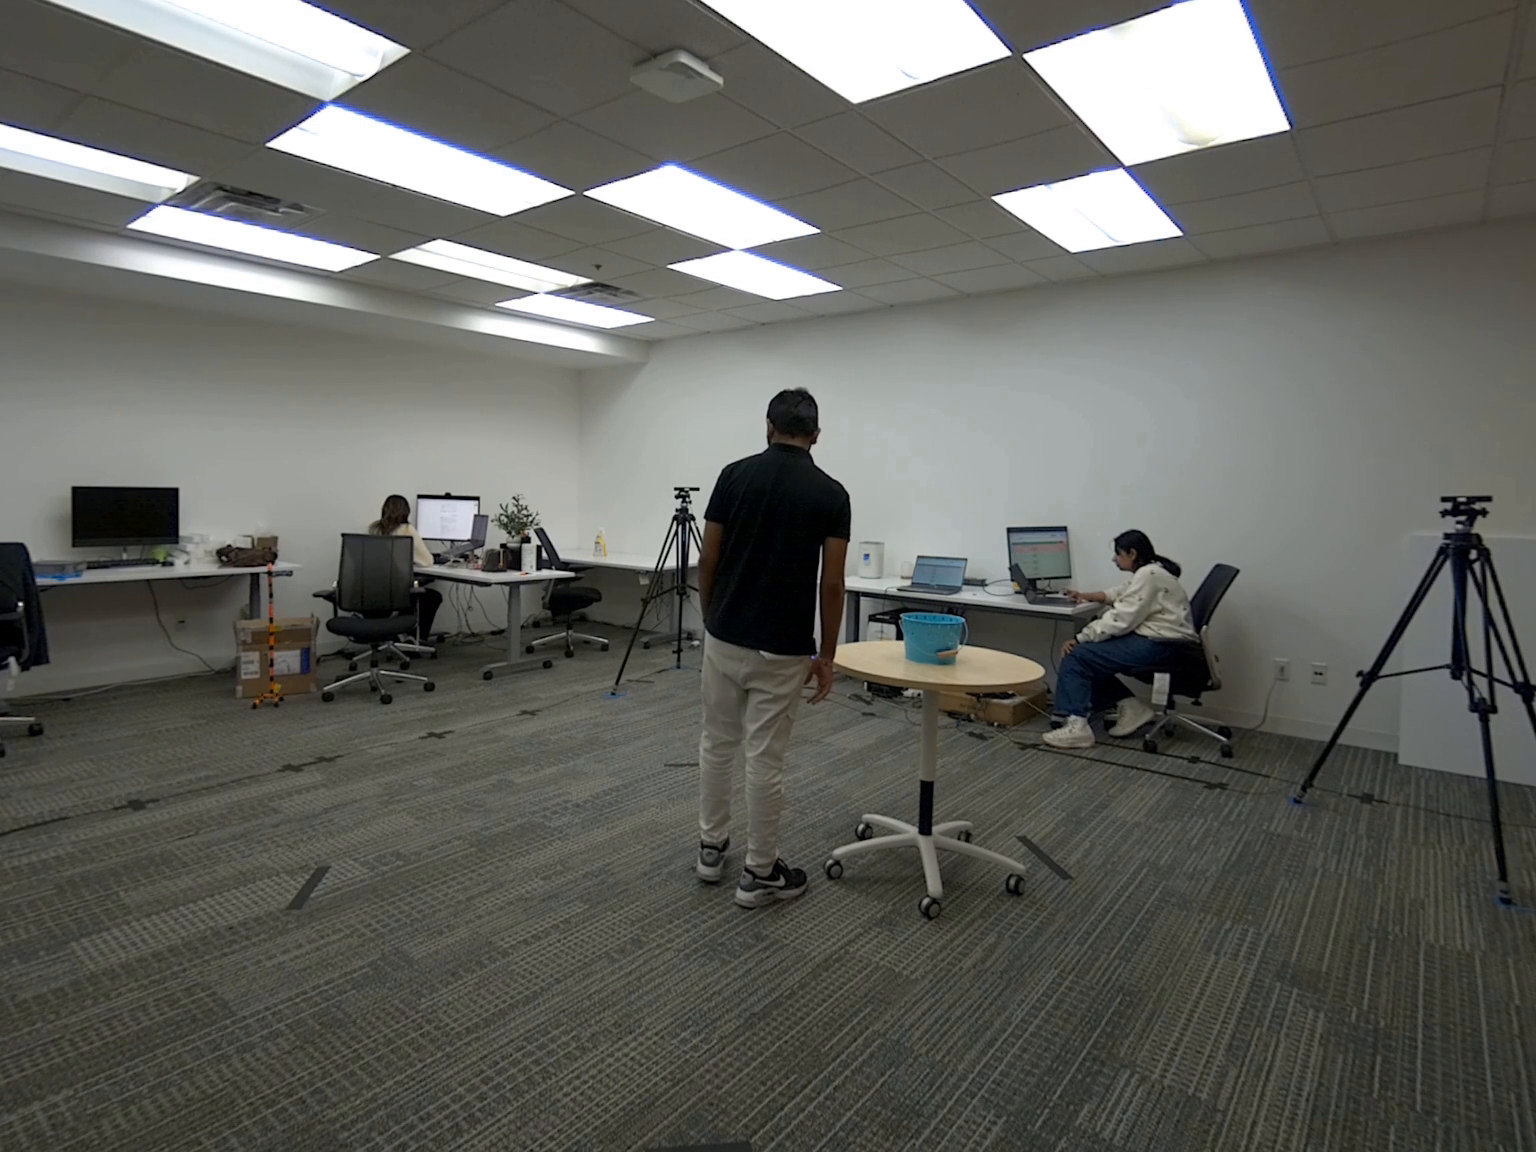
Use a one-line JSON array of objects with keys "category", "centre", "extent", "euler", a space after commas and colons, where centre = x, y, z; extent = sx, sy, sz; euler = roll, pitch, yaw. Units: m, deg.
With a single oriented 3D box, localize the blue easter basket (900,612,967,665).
[{"category": "blue easter basket", "centre": [0.592, 0.224, 3.107], "extent": [0.243, 0.155, 0.245], "euler": [4, 4, -2]}]
